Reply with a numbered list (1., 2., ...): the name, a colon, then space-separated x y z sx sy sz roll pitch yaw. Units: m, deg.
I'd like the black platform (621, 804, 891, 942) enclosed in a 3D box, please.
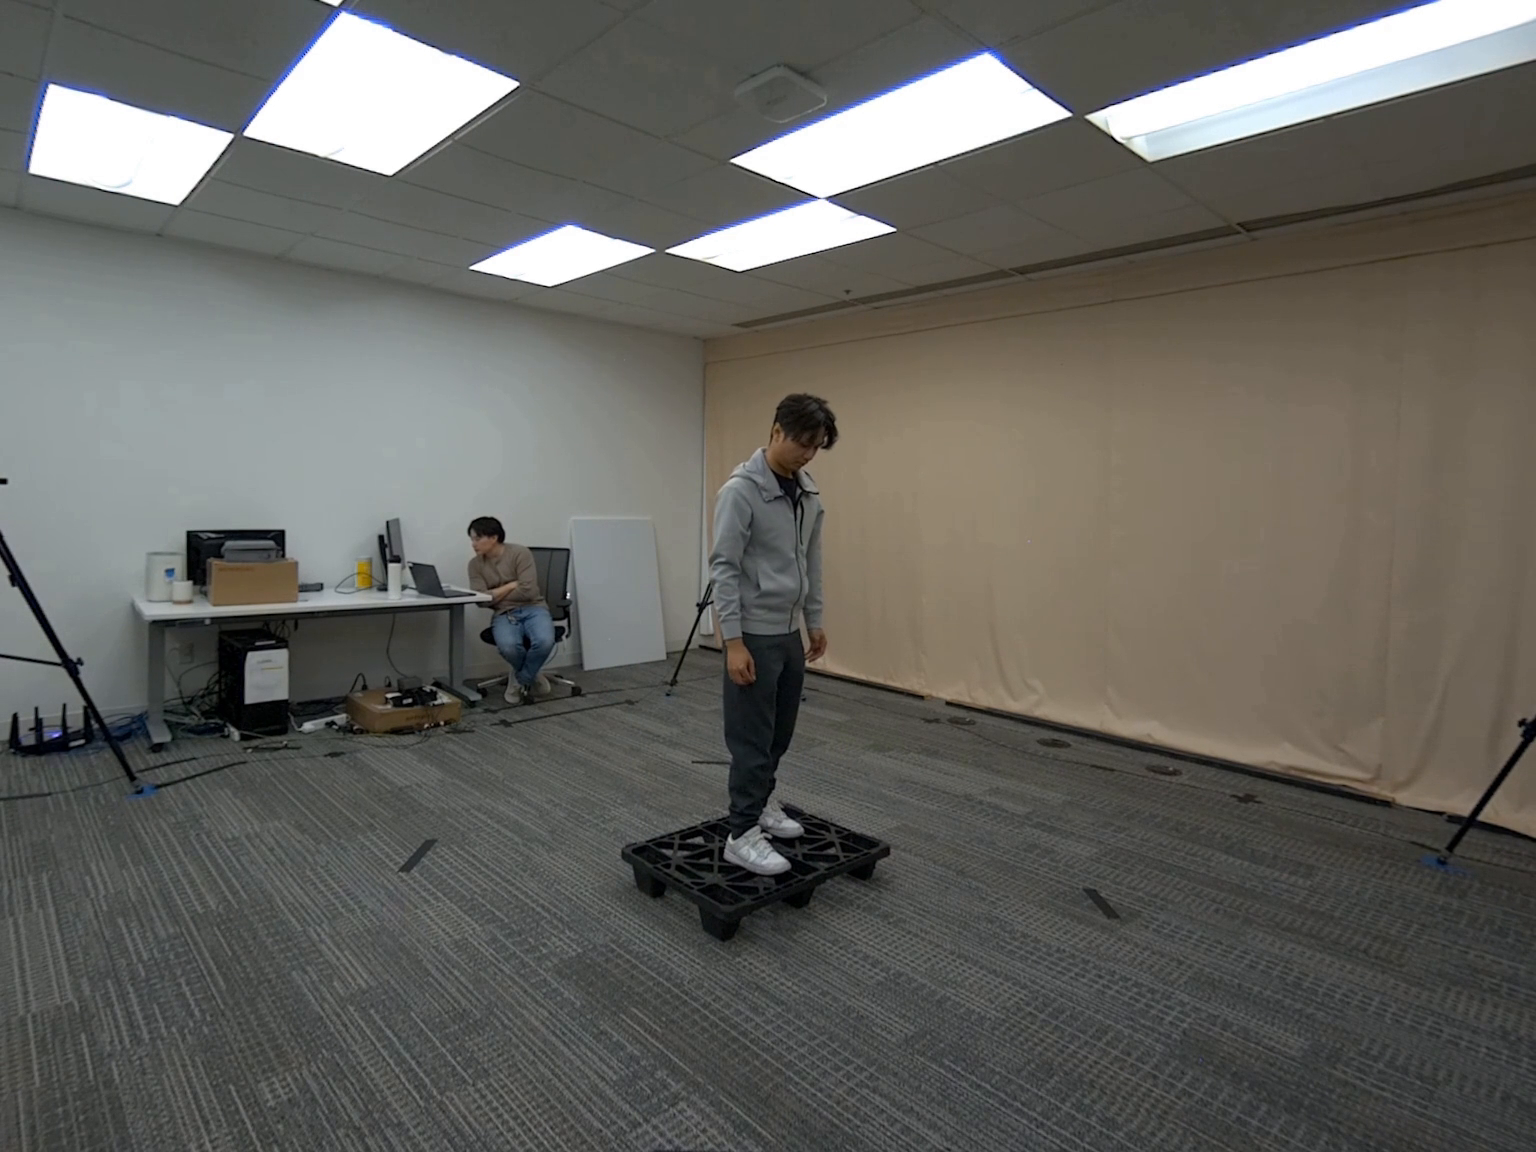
1. black platform: -0.050 1.046 3.050 0.787 0.143 0.620 -3 6 -42
